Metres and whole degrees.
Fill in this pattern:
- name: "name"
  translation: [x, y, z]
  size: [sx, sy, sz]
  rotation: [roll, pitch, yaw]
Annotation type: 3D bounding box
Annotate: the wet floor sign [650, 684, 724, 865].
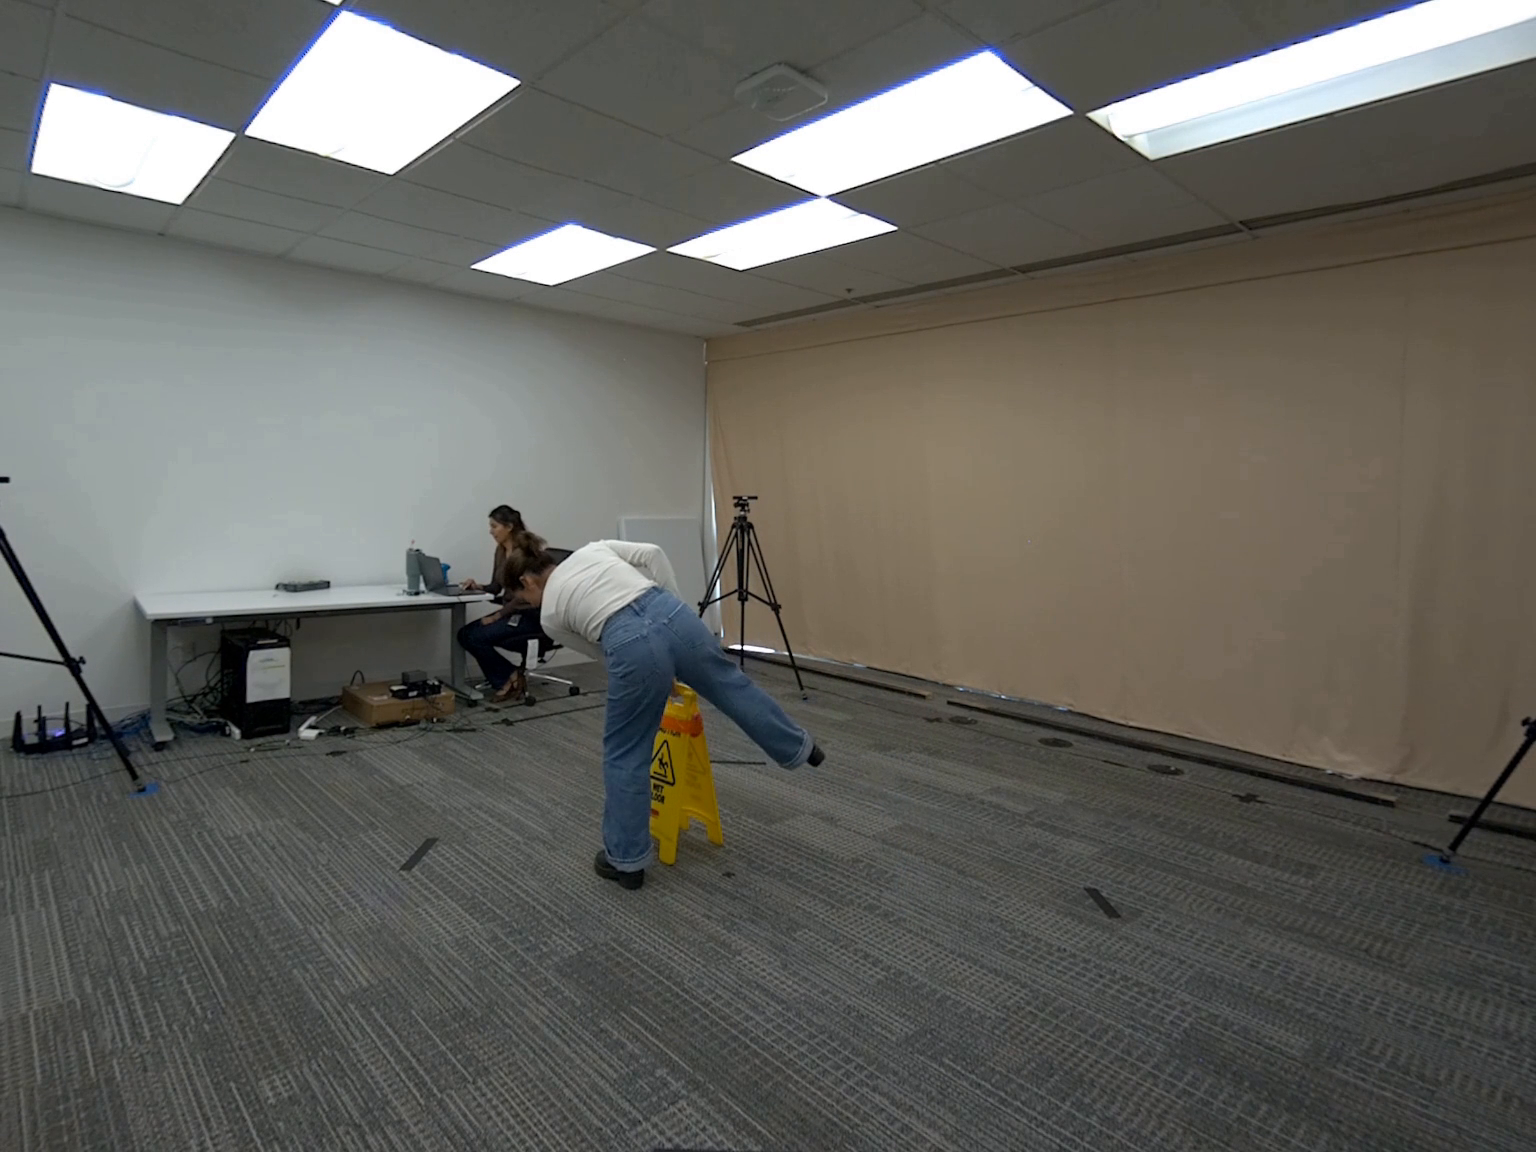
- name: "wet floor sign"
  translation: [-0.371, 0.753, 3.355]
  size: [0.289, 0.644, 0.283]
  rotation: [5, 4, 43]
